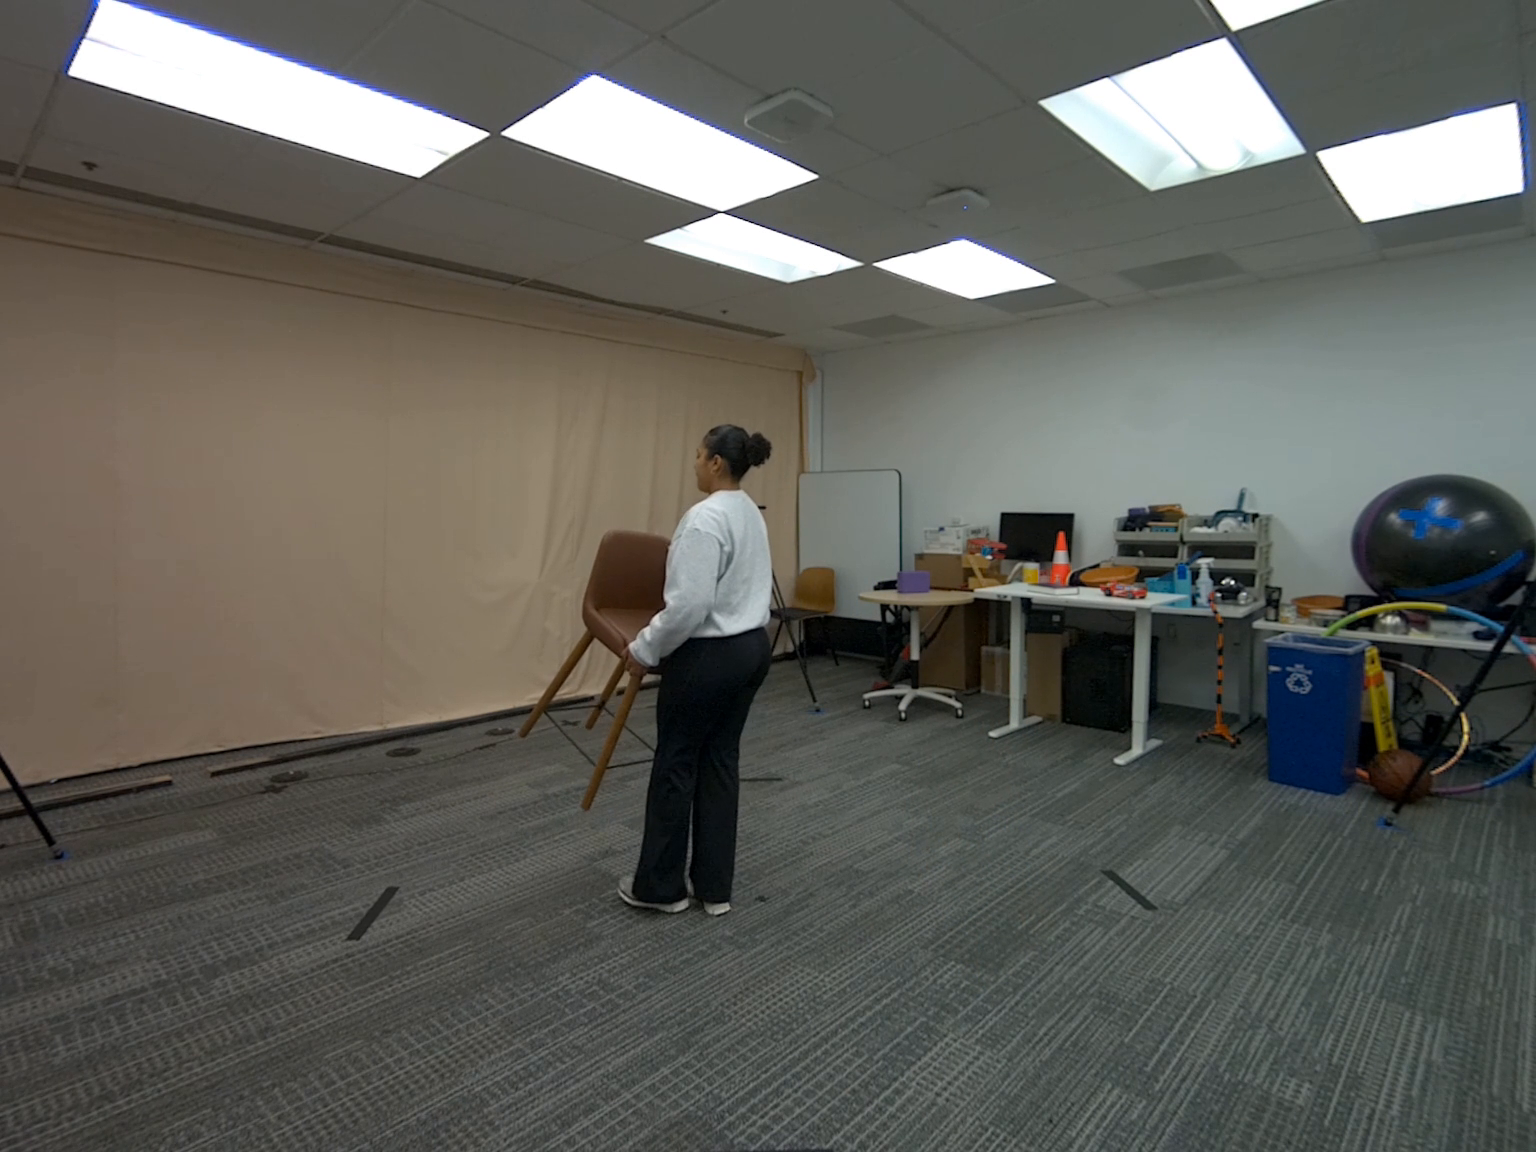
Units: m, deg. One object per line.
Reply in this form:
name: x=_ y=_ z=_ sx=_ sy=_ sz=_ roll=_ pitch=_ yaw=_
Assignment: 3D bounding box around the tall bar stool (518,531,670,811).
tall bar stool: x=-0.504 y=0.338 z=3.103 sx=0.484 sy=0.888 sz=0.441 roll=31 pitch=14 yaw=34
